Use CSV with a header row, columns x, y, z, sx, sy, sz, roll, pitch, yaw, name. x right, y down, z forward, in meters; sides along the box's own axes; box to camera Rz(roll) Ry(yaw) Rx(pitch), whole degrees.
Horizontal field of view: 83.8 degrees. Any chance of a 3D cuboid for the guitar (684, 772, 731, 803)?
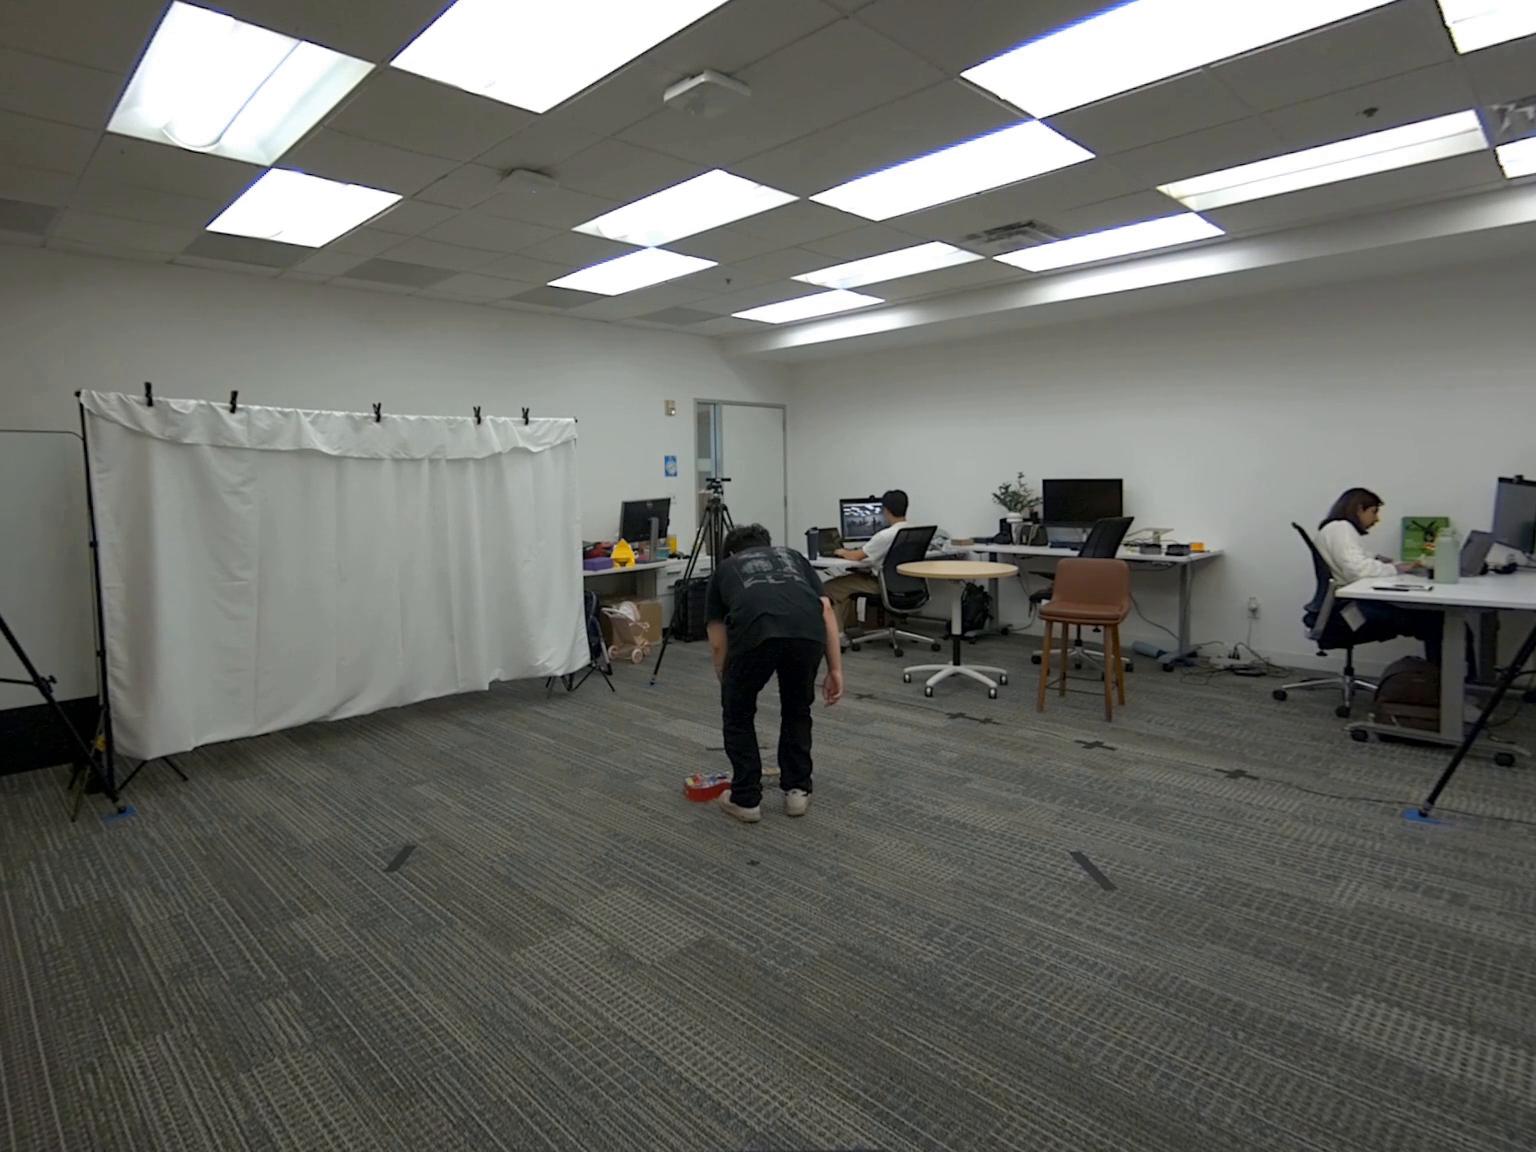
x,y,z,sx,sy,sz,roll,pitch,yaw,name
-0.129,0.927,3.825,0.494,0.070,0.195,-3,5,-7,guitar
